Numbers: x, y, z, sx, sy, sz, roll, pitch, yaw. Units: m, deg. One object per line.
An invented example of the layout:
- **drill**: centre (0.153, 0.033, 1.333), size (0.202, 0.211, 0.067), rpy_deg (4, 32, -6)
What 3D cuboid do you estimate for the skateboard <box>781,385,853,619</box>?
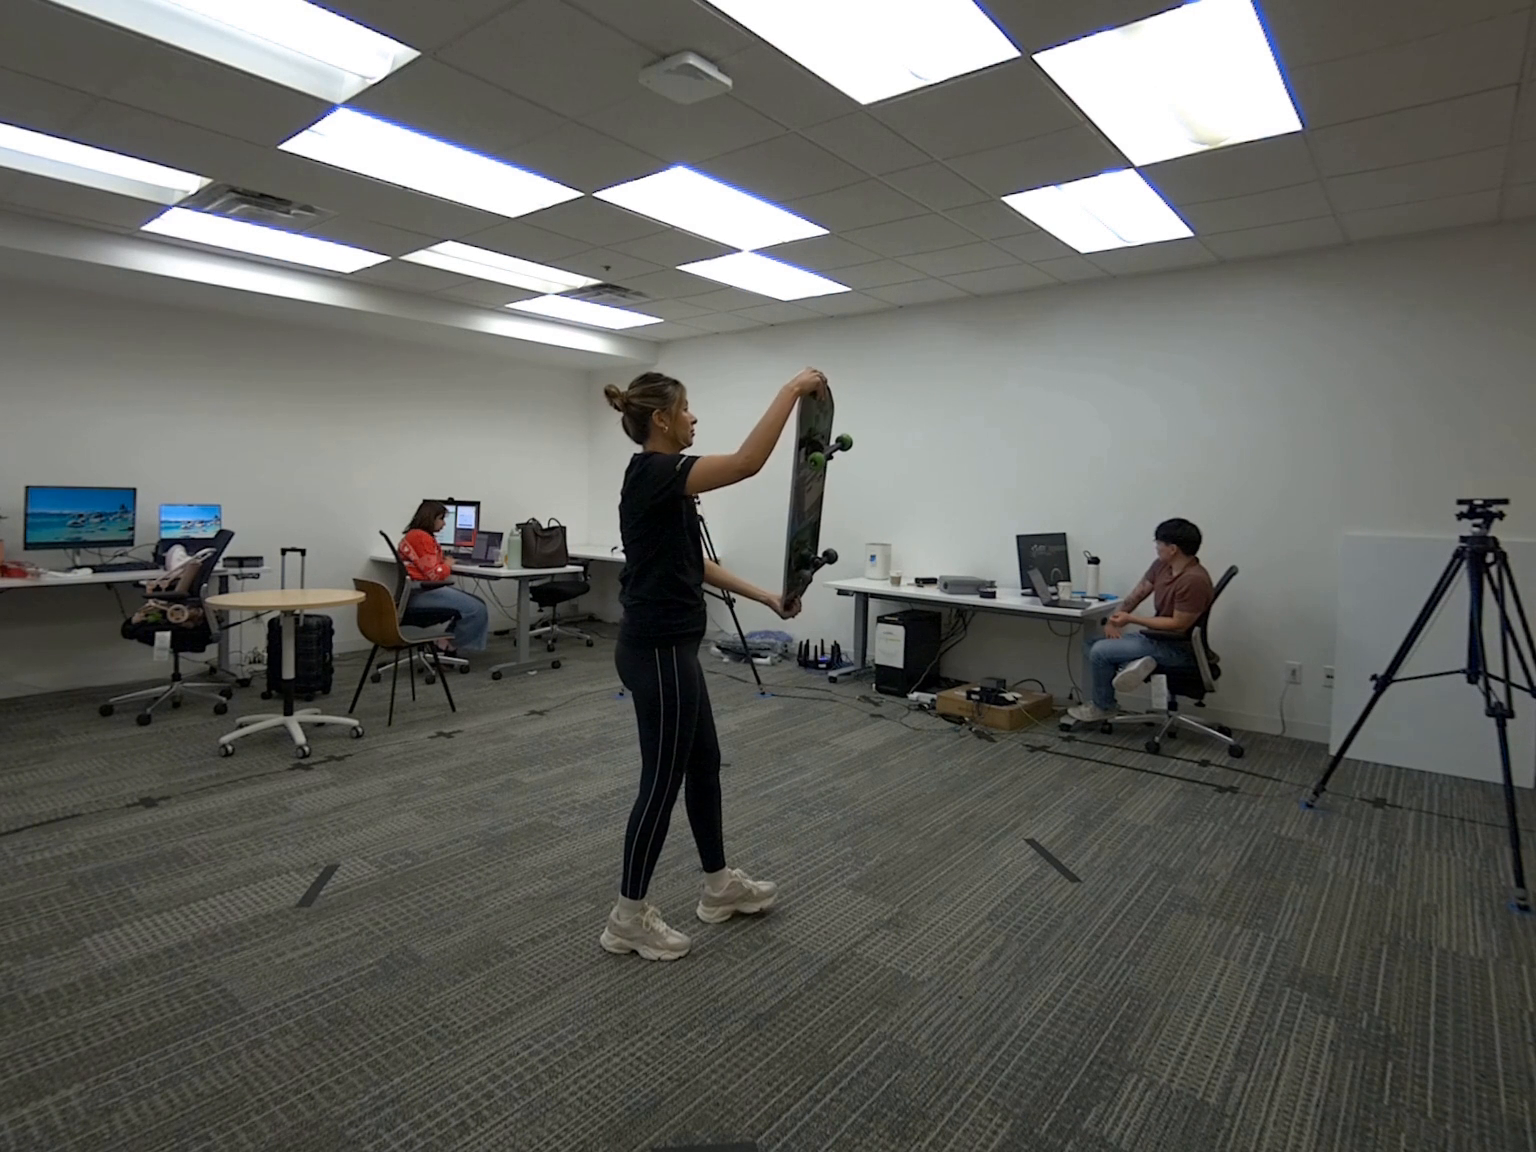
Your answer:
- **skateboard**: centre (0.136, -0.199, 2.529), size (0.114, 0.766, 0.191), rpy_deg (24, 38, 27)
